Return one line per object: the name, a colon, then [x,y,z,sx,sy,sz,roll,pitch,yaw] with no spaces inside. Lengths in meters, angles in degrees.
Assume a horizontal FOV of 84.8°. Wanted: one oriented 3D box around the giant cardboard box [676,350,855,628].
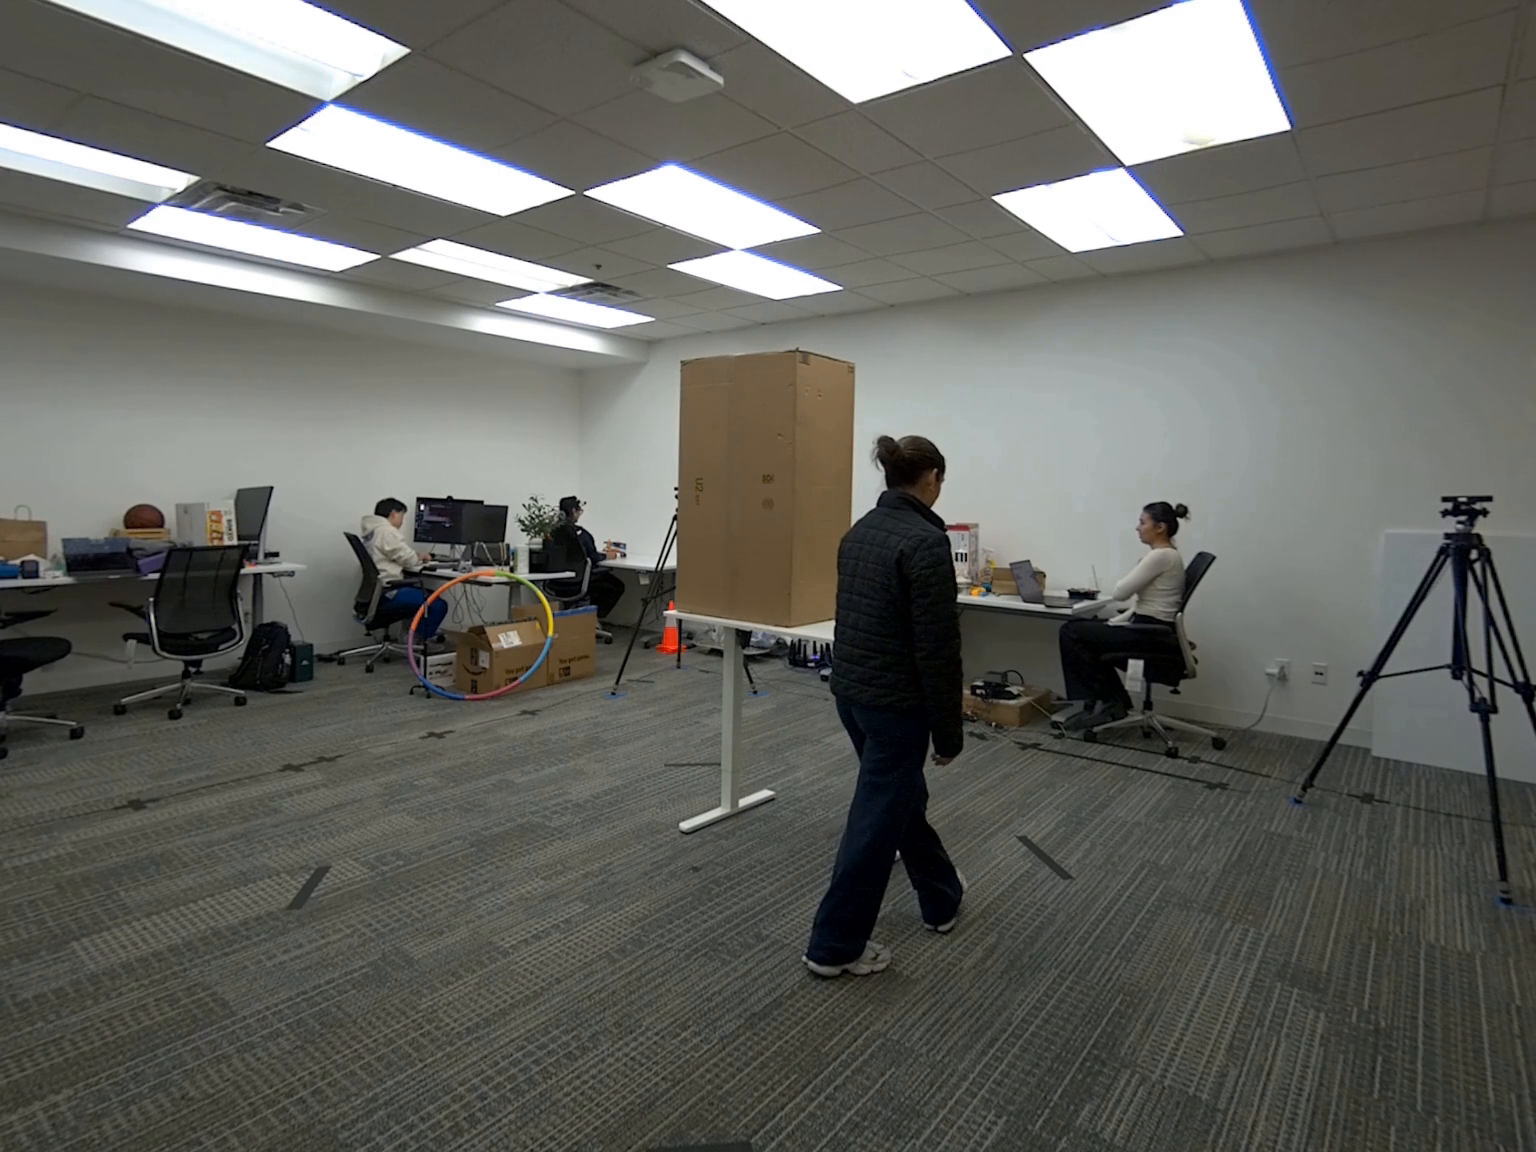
giant cardboard box: [0.005,-0.355,3.454,0.597,1.023,0.413,4,4,38]
